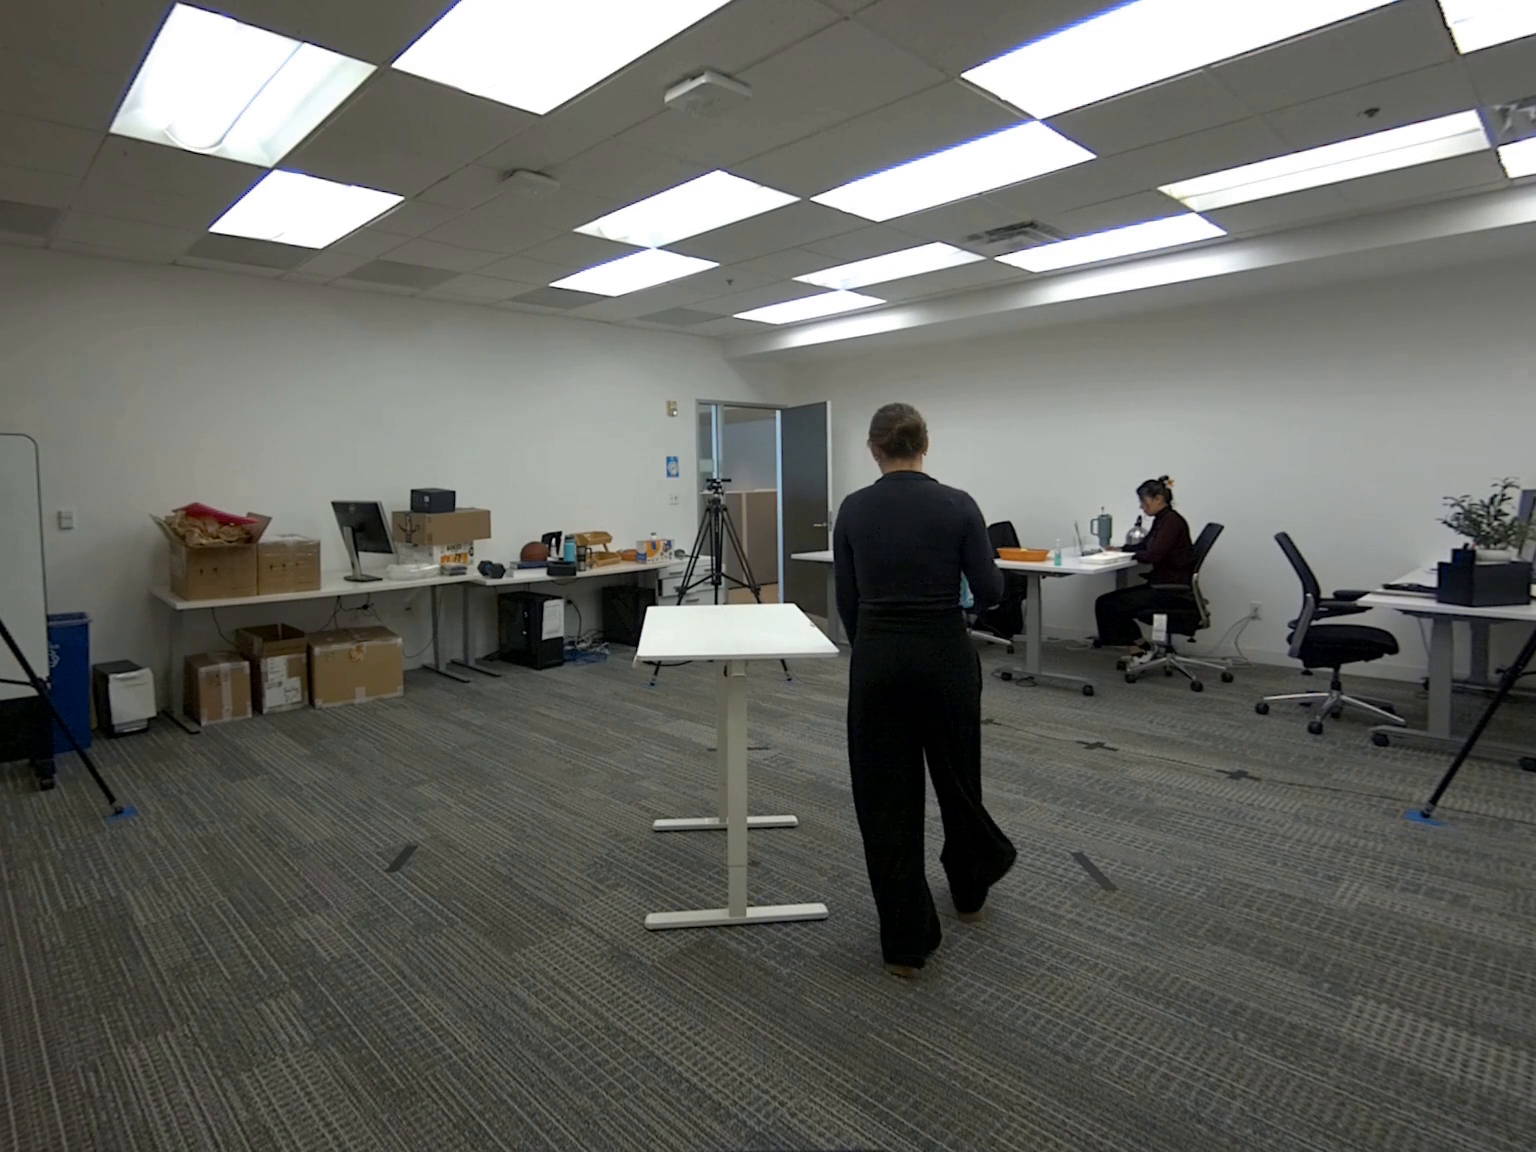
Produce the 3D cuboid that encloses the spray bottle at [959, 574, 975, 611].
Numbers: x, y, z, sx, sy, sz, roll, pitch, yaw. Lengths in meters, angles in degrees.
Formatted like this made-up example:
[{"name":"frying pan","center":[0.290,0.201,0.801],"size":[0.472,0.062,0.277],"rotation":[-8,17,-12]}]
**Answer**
[{"name":"spray bottle","center":[0.603,-0.052,2.681],"size":[0.086,0.296,0.091],"rotation":[-2,3,-12]}]
